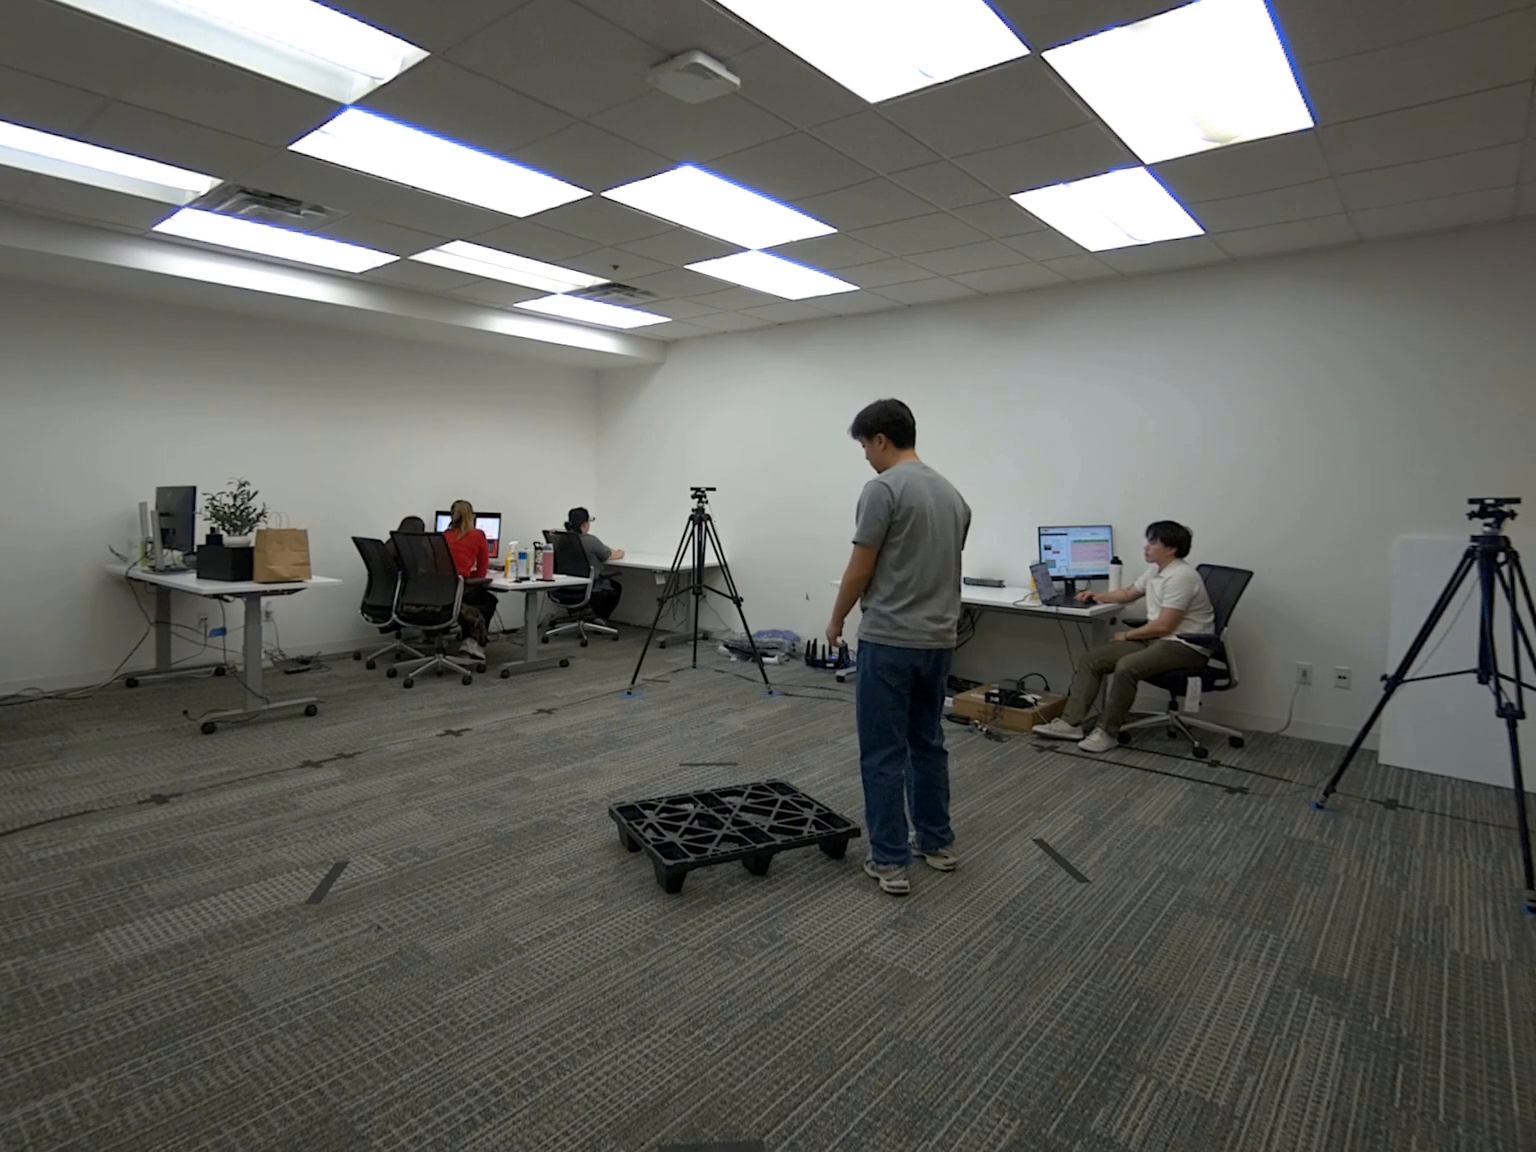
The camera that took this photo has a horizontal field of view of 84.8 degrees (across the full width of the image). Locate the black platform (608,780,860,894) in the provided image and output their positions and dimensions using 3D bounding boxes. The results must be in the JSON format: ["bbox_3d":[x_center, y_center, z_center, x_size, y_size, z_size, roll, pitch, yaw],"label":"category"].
[{"bbox_3d":[-0.146,0.983,3.269,0.785,0.143,0.623,-2,7,-28],"label":"black platform"}]
